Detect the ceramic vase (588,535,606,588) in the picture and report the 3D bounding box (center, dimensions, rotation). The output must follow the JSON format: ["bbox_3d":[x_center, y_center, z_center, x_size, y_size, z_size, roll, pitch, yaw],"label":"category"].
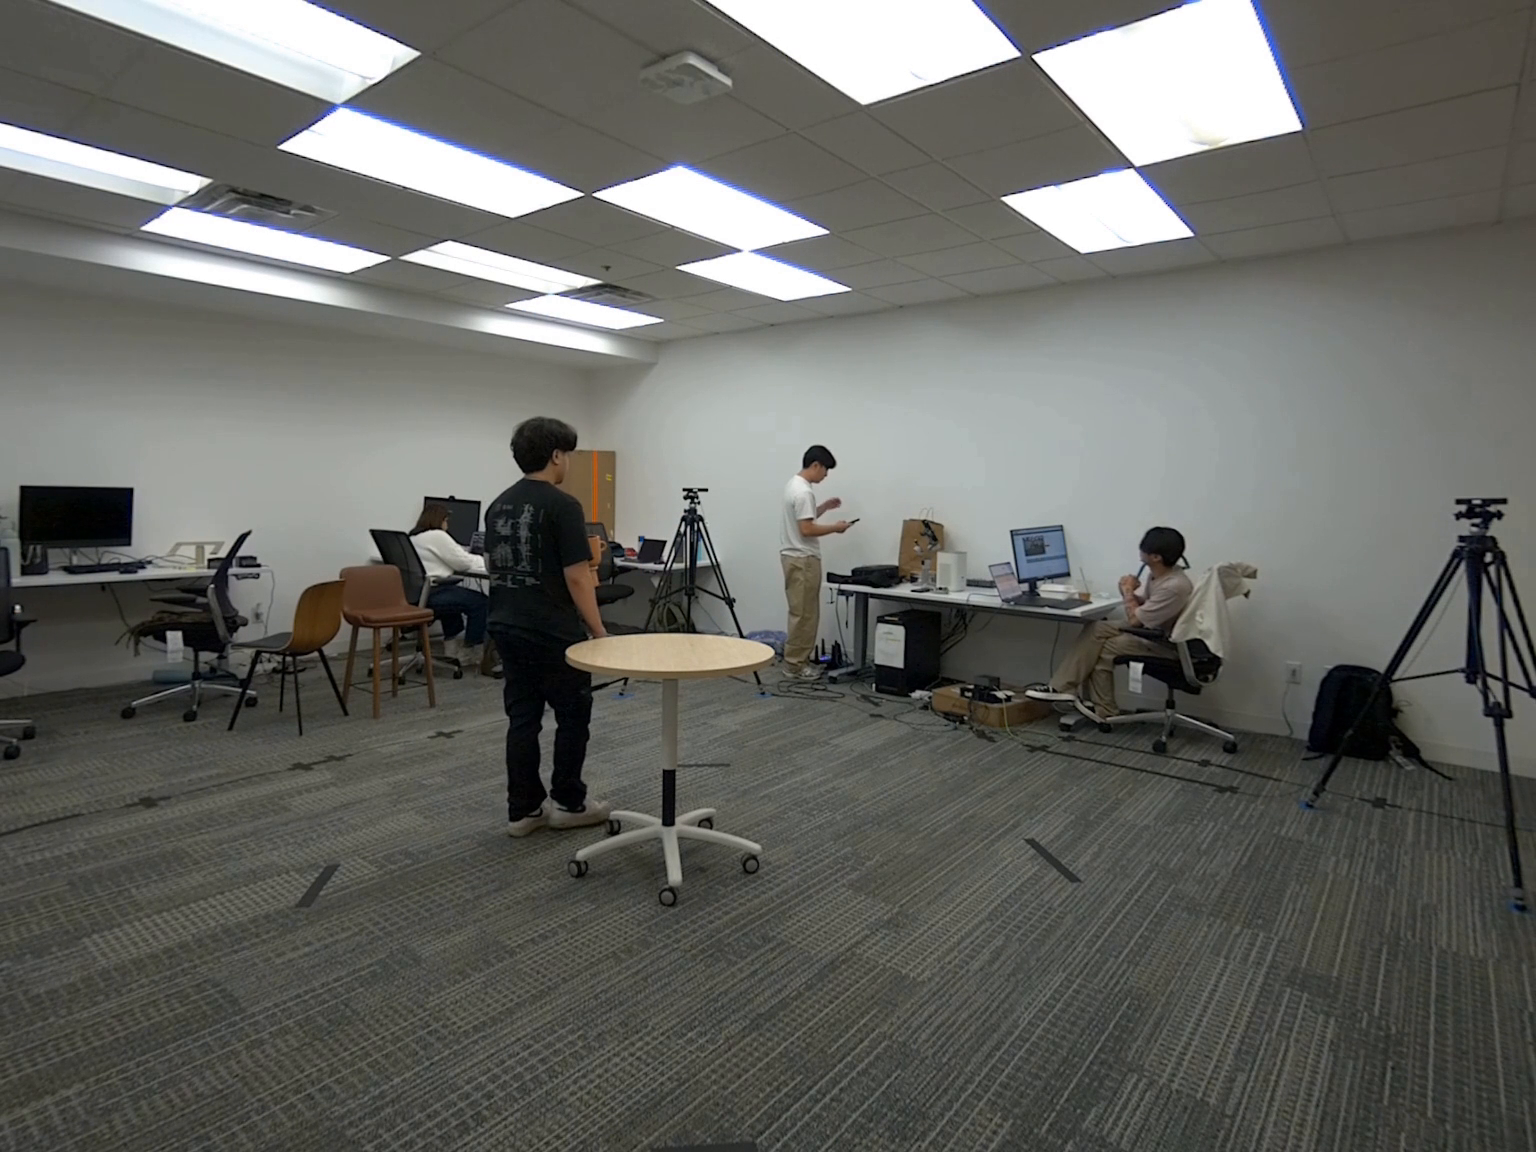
[{"bbox_3d":[-0.822,-0.064,3.770,0.160,0.218,0.134,0,8,9],"label":"ceramic vase"}]
